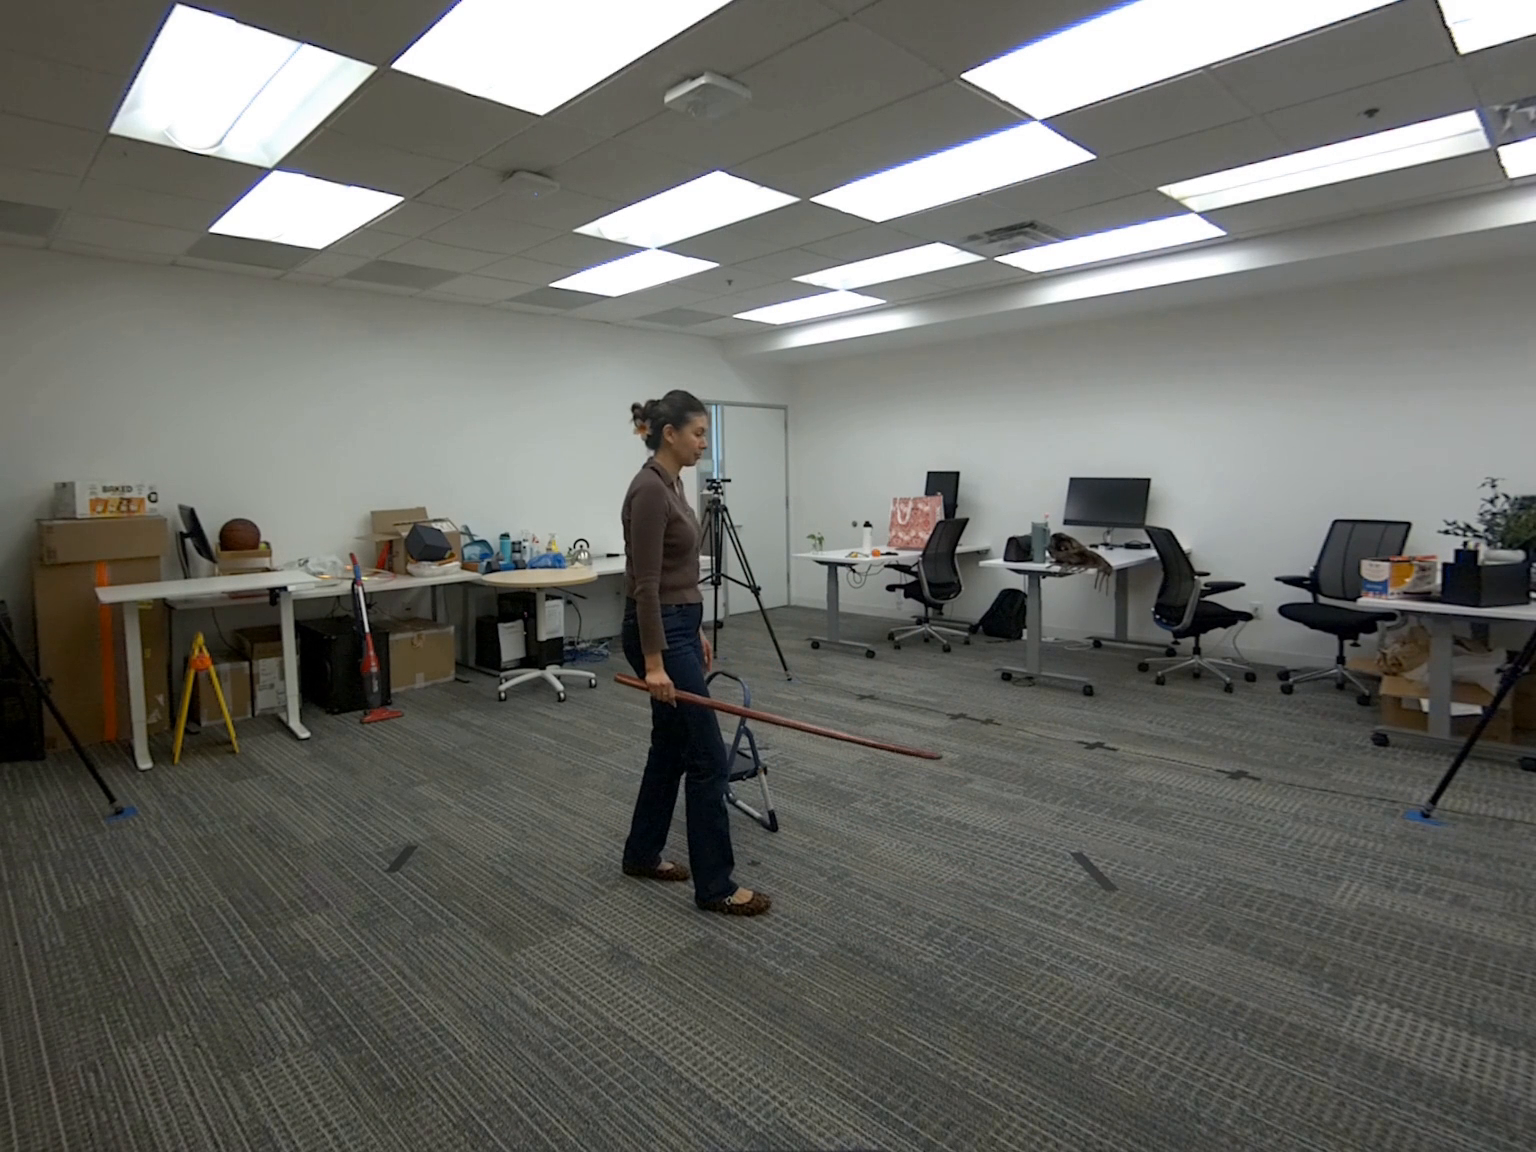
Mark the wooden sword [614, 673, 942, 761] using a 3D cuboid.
[{"bbox_3d":[0.067,0.448,2.595,1.023,0.023,0.052,12,47,-1],"label":"wooden sword"}]
